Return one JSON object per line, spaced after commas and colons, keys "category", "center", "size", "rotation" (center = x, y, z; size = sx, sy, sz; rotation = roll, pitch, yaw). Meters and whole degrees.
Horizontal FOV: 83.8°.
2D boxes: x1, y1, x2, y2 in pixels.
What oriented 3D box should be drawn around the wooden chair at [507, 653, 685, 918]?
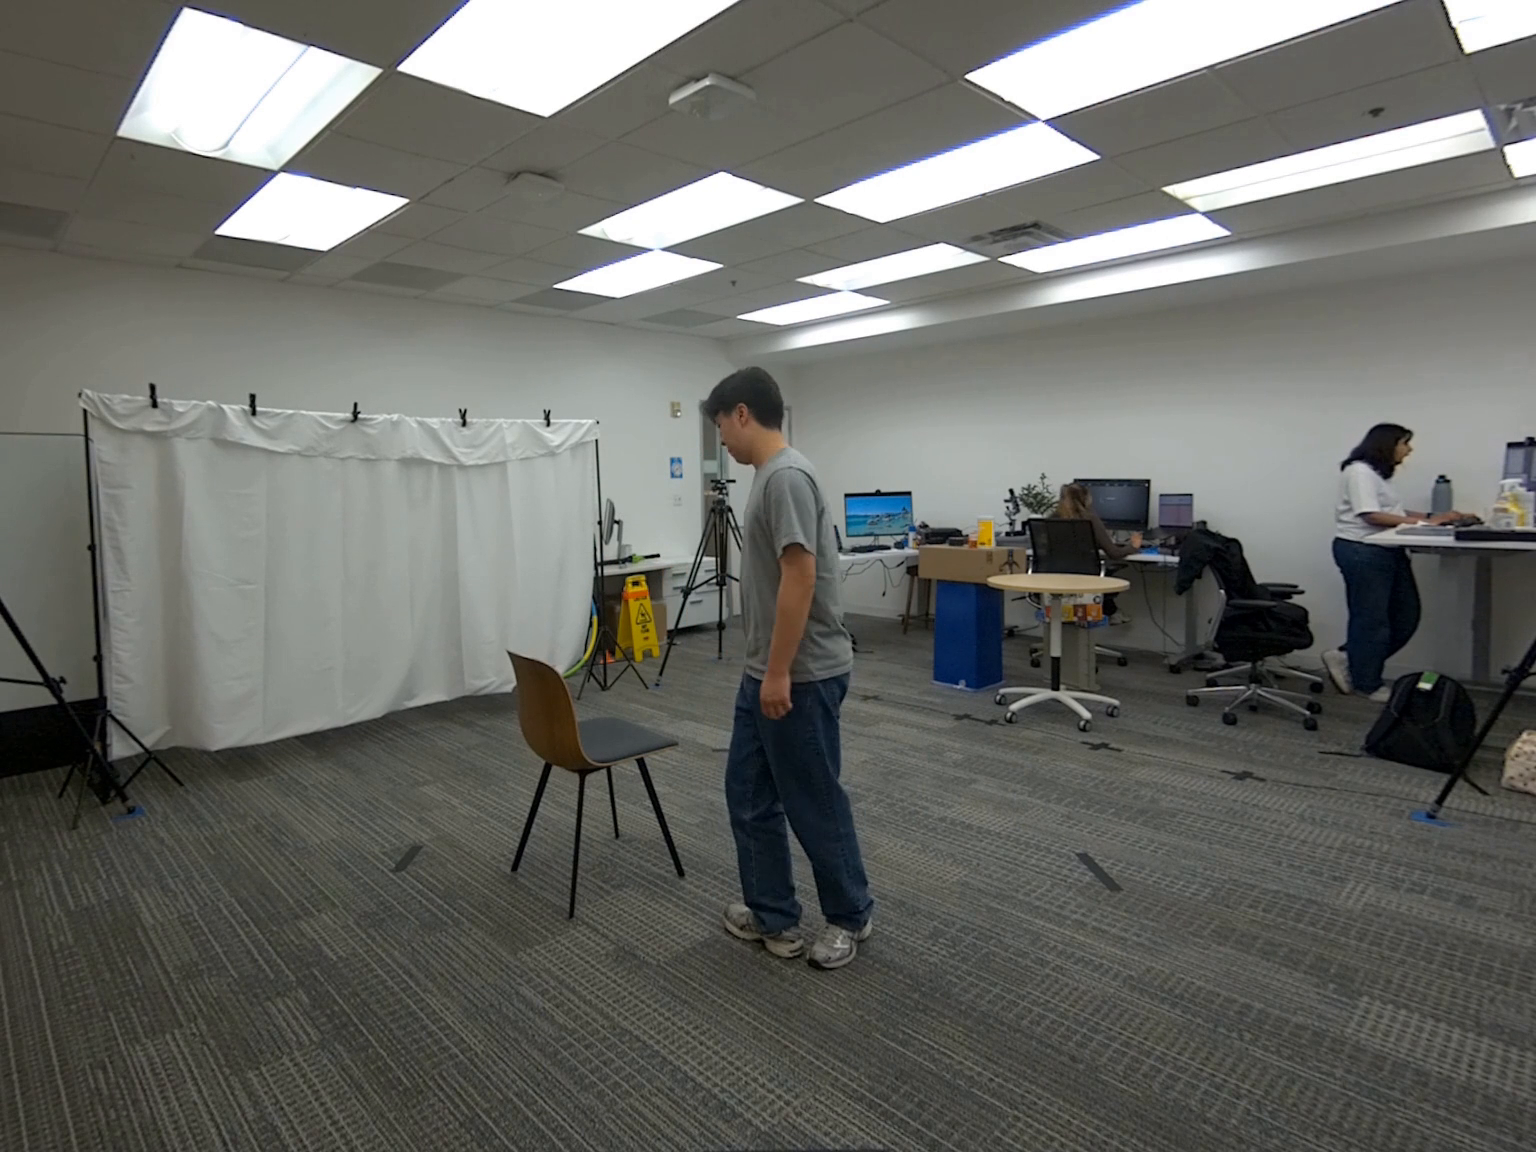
{"category": "wooden chair", "center": [-0.610, 0.641, 3.024], "size": [0.511, 0.872, 0.492], "rotation": [-10, 9, -39]}
